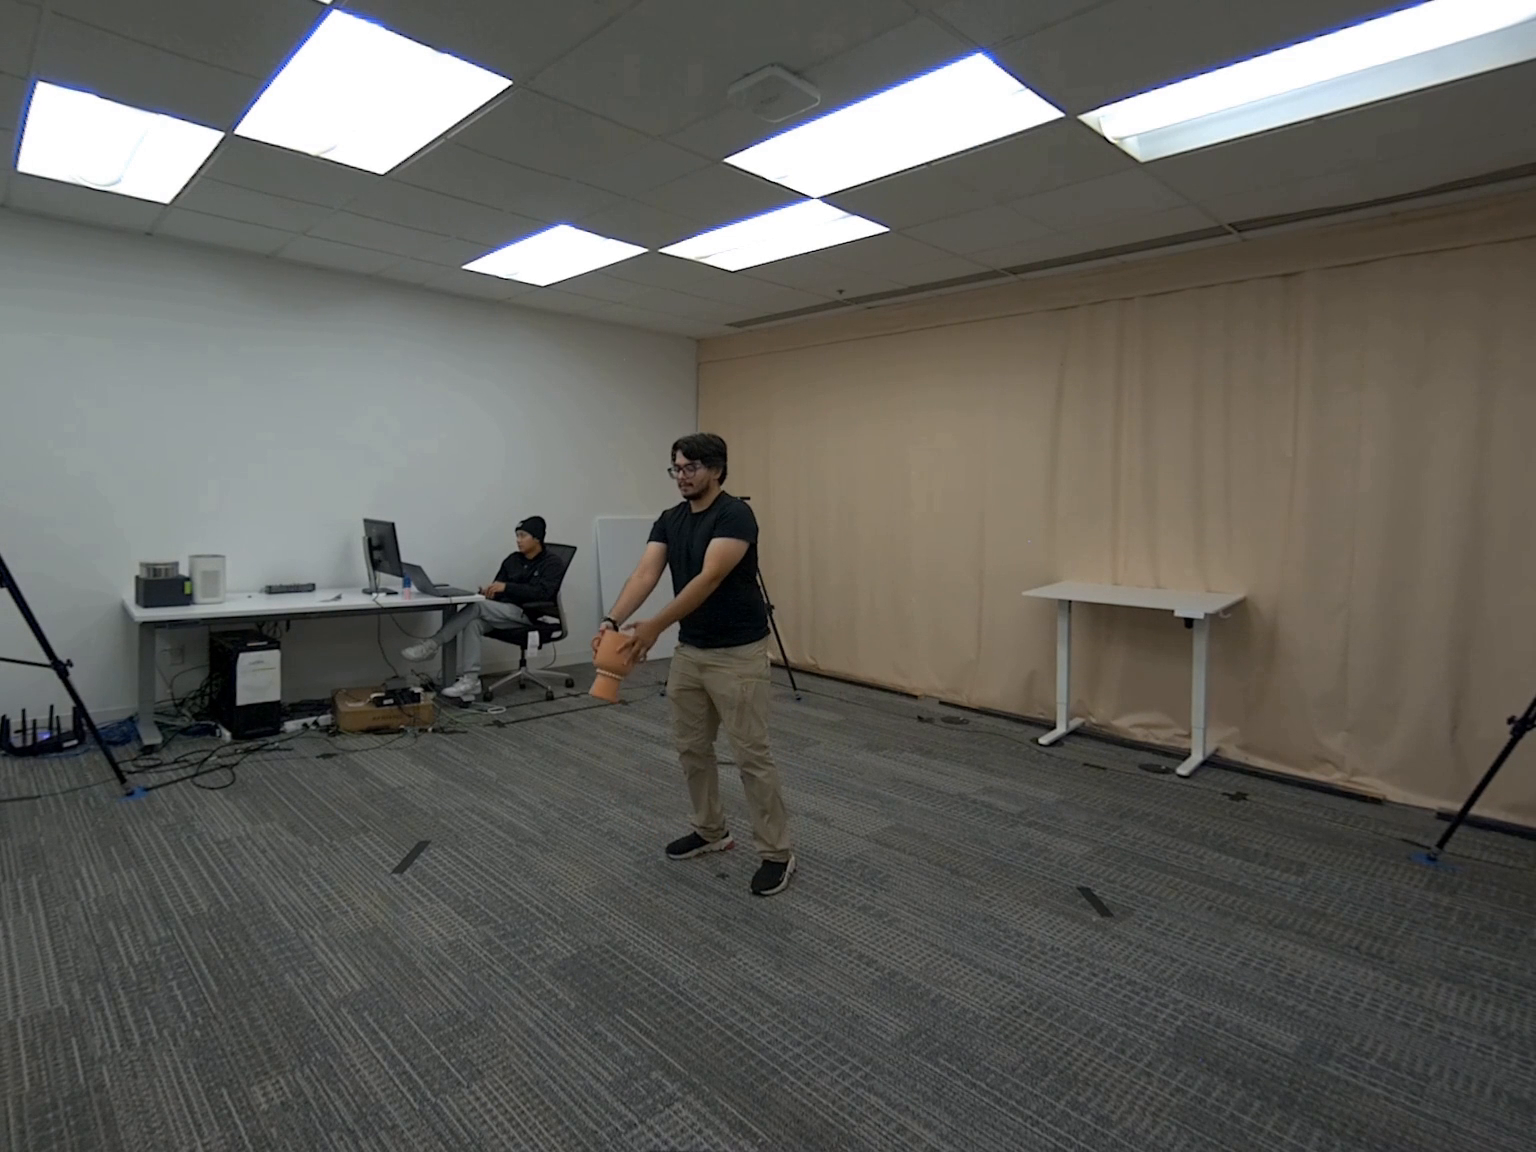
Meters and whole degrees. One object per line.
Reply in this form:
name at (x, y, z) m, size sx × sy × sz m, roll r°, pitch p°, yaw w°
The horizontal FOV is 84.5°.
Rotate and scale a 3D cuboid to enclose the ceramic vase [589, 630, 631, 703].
ceramic vase at (-0.527, 0.310, 2.839) m, size 0.162 × 0.221 × 0.130 m, roll 9°, pitch -16°, yaw 30°
